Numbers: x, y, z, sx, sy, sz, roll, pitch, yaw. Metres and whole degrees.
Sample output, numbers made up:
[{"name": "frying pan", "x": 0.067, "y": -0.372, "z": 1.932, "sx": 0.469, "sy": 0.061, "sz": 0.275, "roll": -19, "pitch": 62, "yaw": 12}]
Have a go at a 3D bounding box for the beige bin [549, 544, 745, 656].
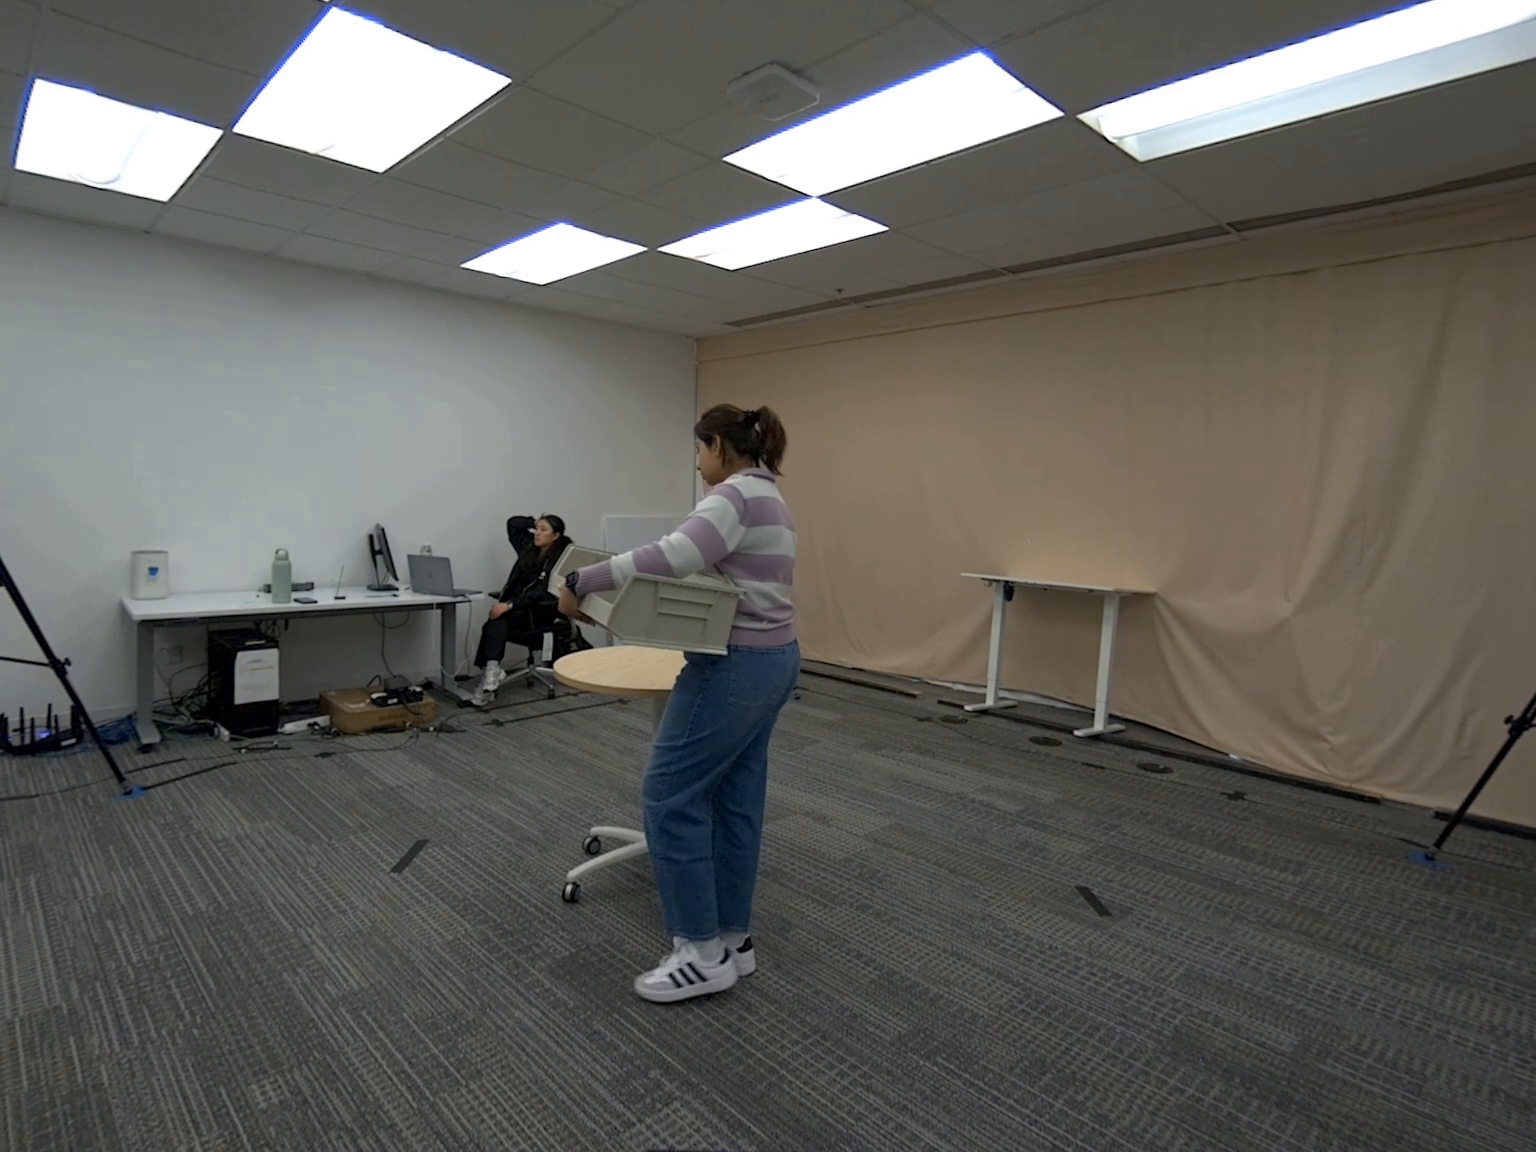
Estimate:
[{"name": "beige bin", "x": -0.346, "y": 0.059, "z": 2.282, "sx": 0.367, "sy": 0.189, "sz": 0.434, "roll": 12, "pitch": 2, "yaw": -36}]
